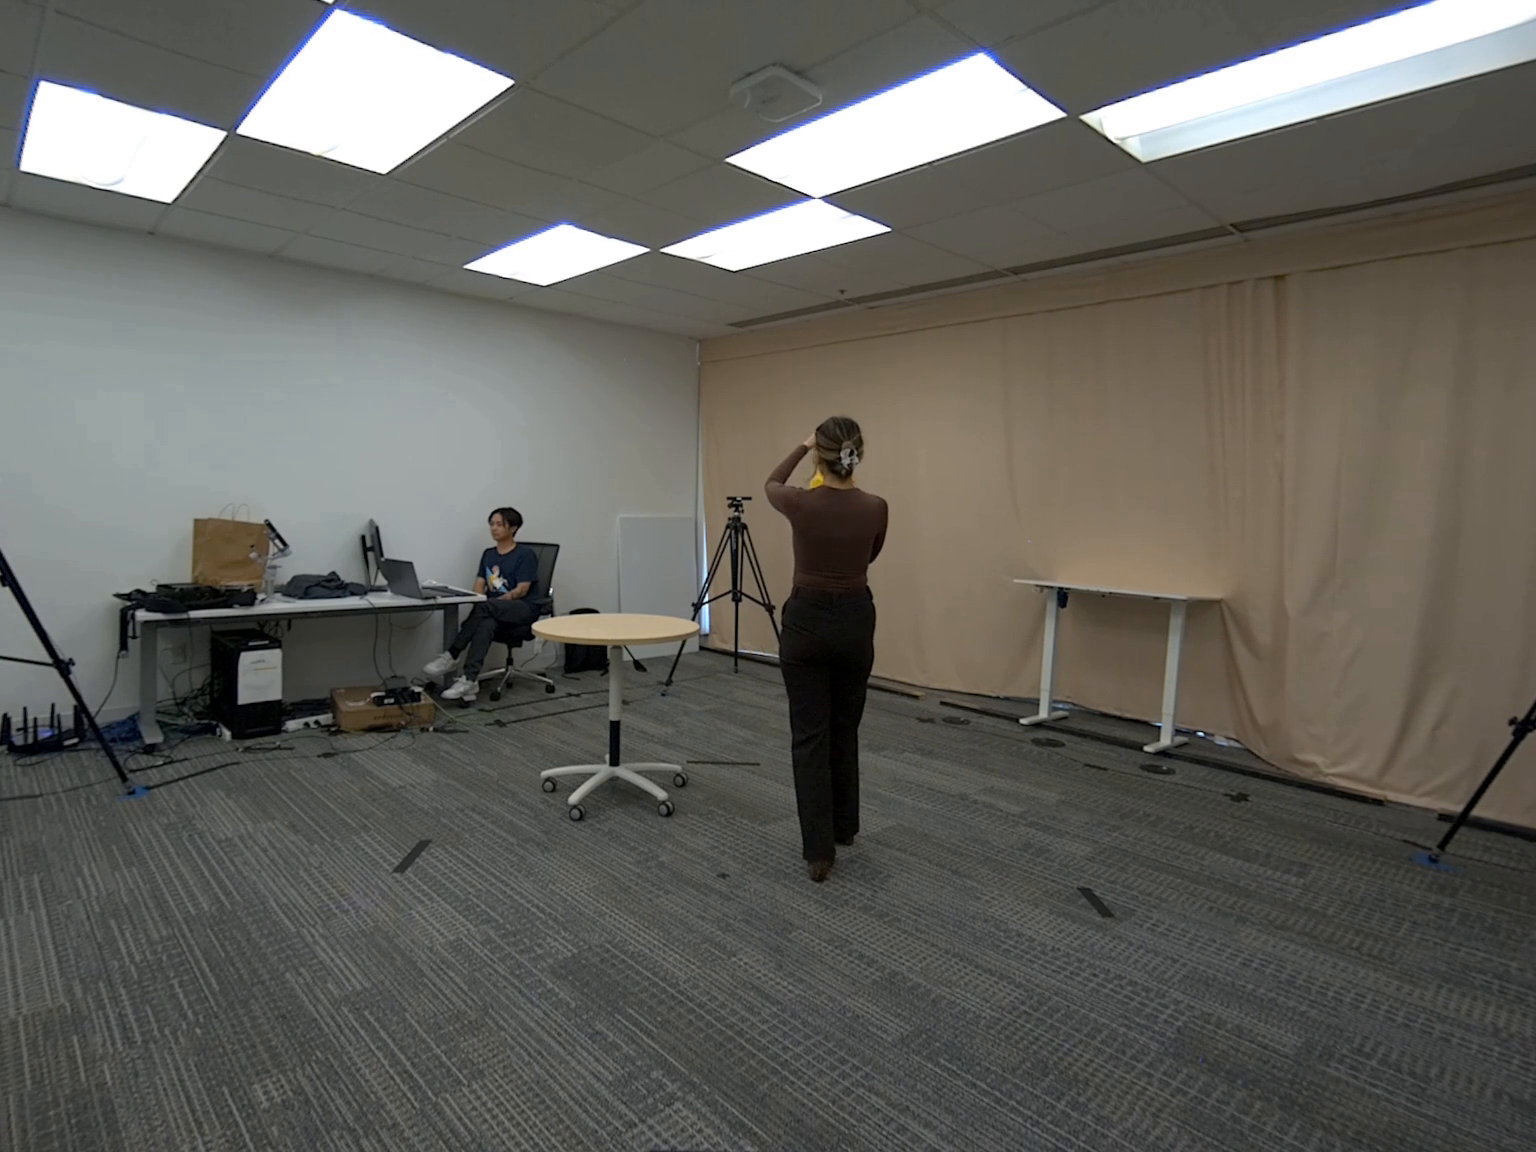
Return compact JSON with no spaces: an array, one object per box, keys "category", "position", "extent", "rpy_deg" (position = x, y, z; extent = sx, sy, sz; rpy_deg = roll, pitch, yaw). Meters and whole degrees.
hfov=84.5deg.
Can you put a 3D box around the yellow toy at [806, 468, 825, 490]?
[{"category":"yellow toy","position":[0.249,-0.491,3.596],"extent":[0.201,0.232,0.196],"rpy_deg":[-10,-7,-46]}]
